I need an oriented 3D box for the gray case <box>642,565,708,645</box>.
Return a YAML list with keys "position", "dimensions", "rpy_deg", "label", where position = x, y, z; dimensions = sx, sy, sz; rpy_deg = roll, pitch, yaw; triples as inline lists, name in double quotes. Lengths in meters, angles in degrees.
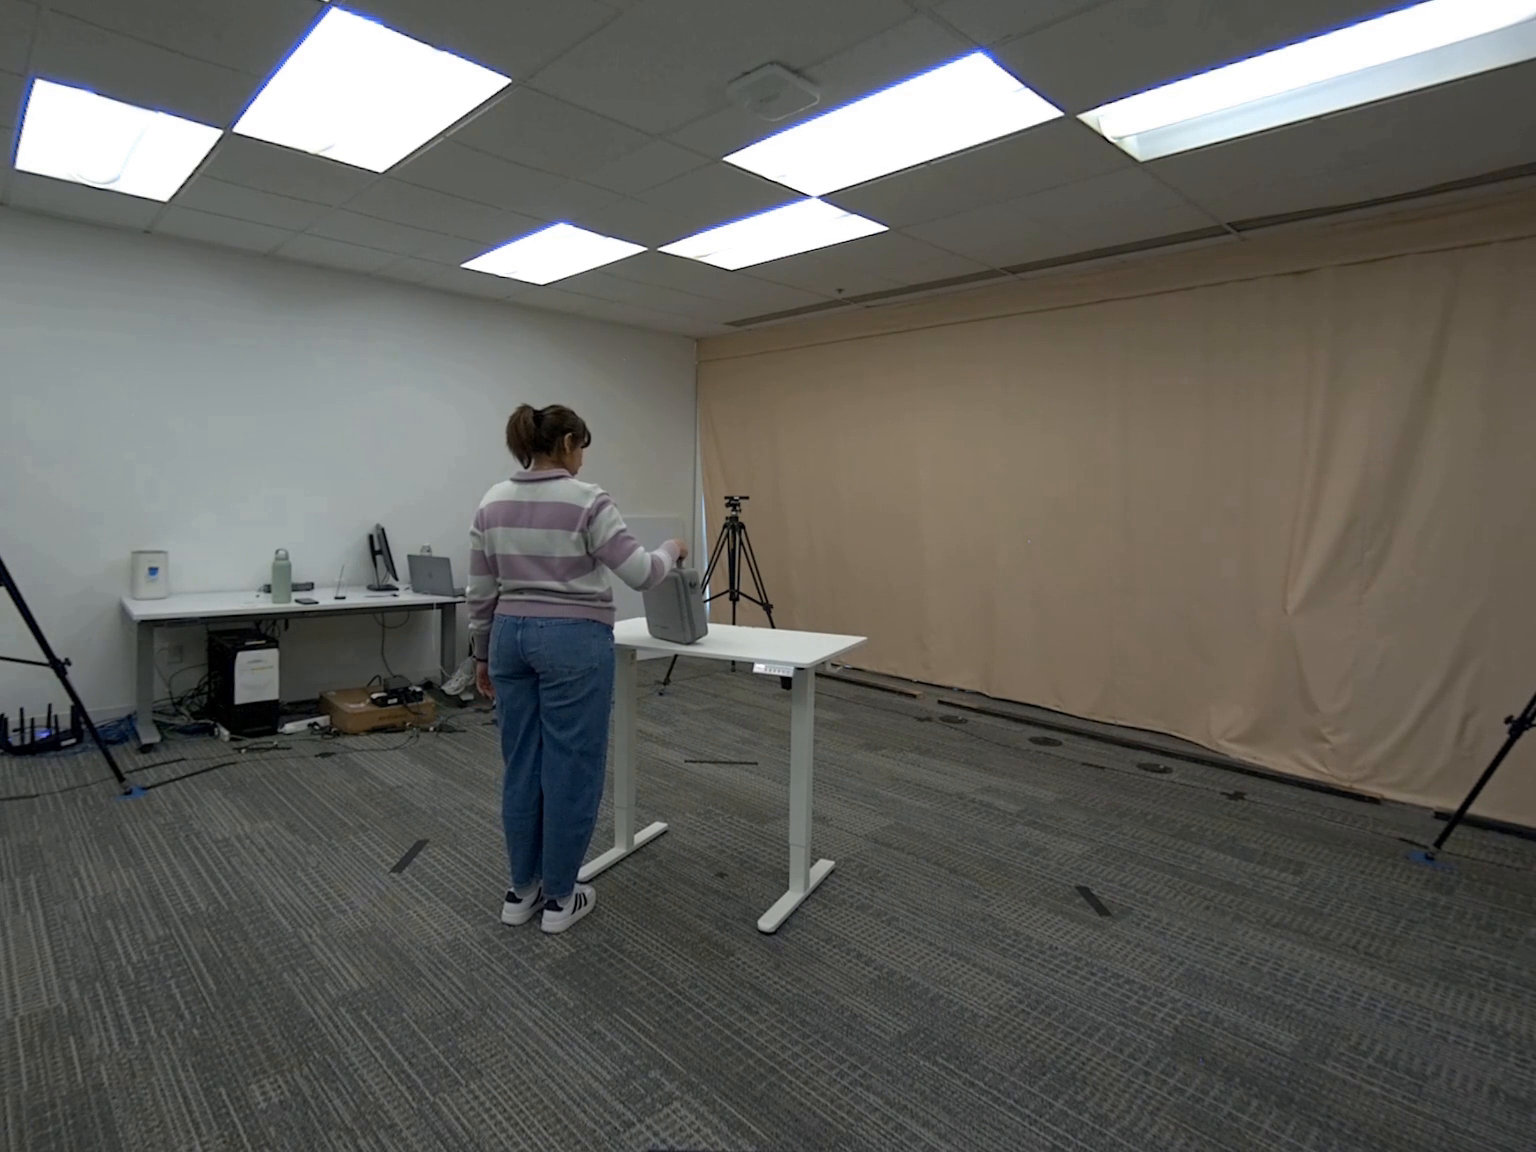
- position: [-0.343, 0.093, 2.956]
  dimensions: [0.102, 0.259, 0.263]
  rpy_deg: [-11, 10, -36]
  label: "gray case"
